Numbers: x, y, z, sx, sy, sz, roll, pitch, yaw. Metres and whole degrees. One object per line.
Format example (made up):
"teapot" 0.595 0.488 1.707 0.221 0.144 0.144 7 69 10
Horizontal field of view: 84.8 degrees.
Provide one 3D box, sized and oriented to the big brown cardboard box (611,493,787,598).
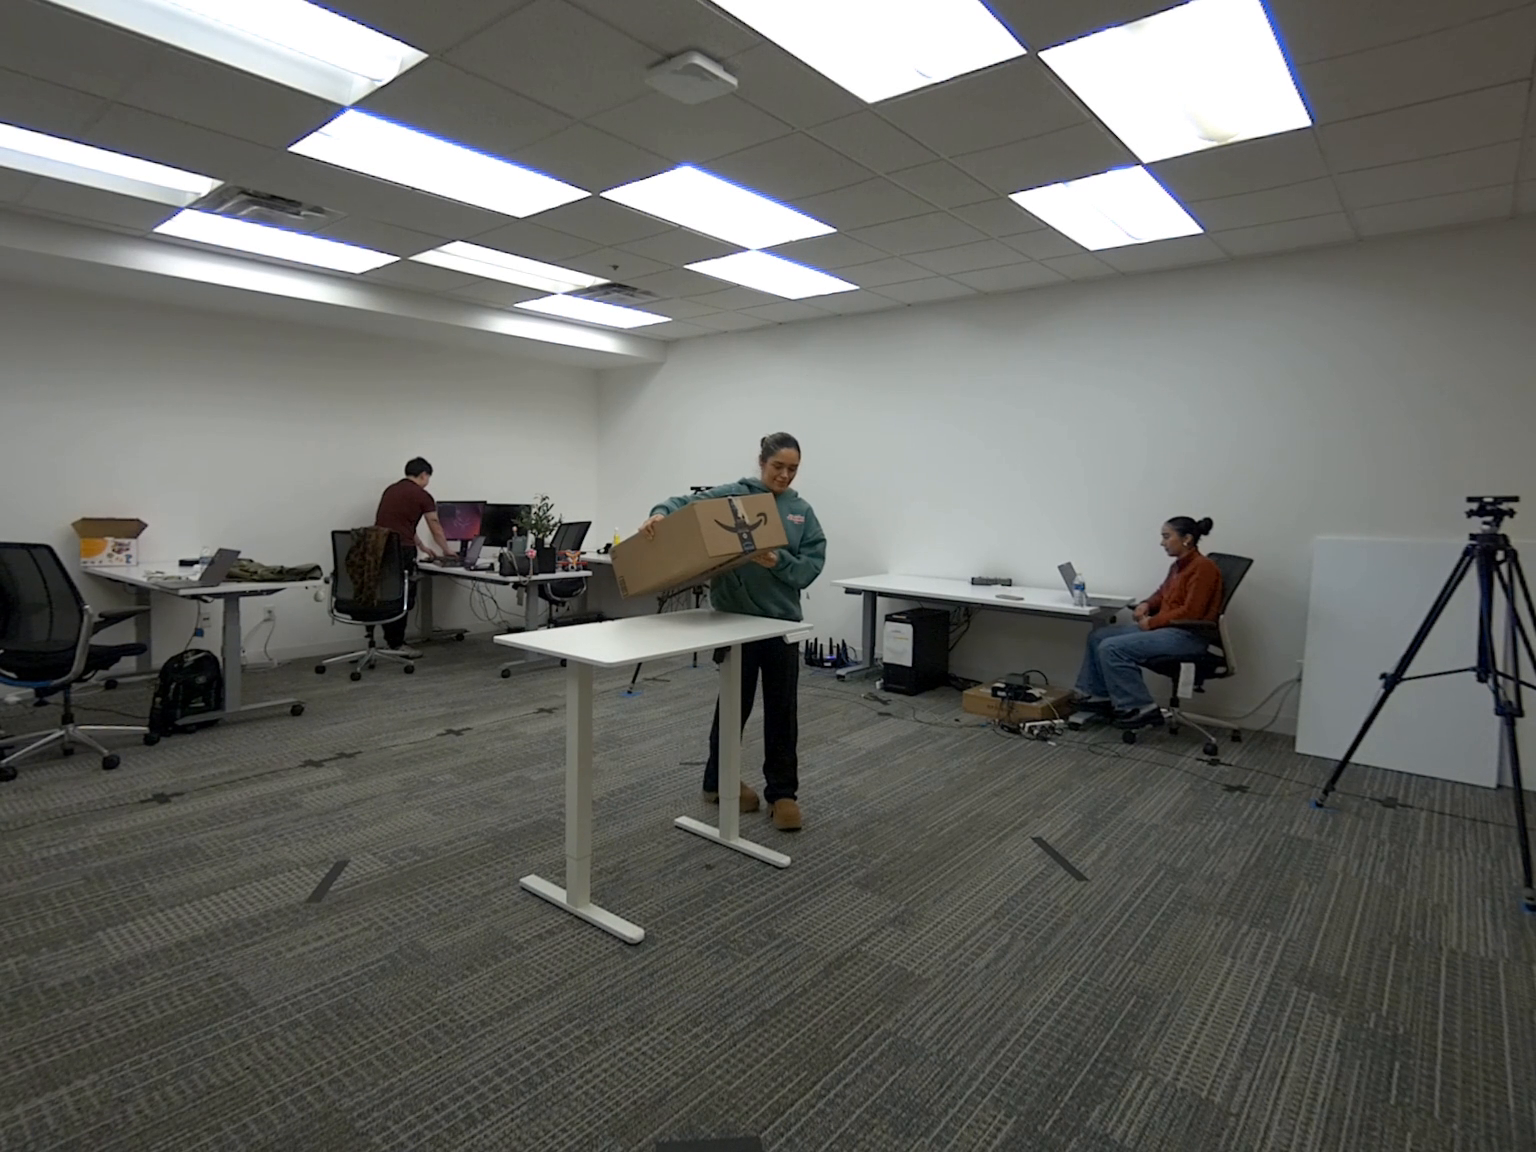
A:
"big brown cardboard box" -0.301 -0.117 3.342 0.406 0.235 0.599 -10 -8 -45
